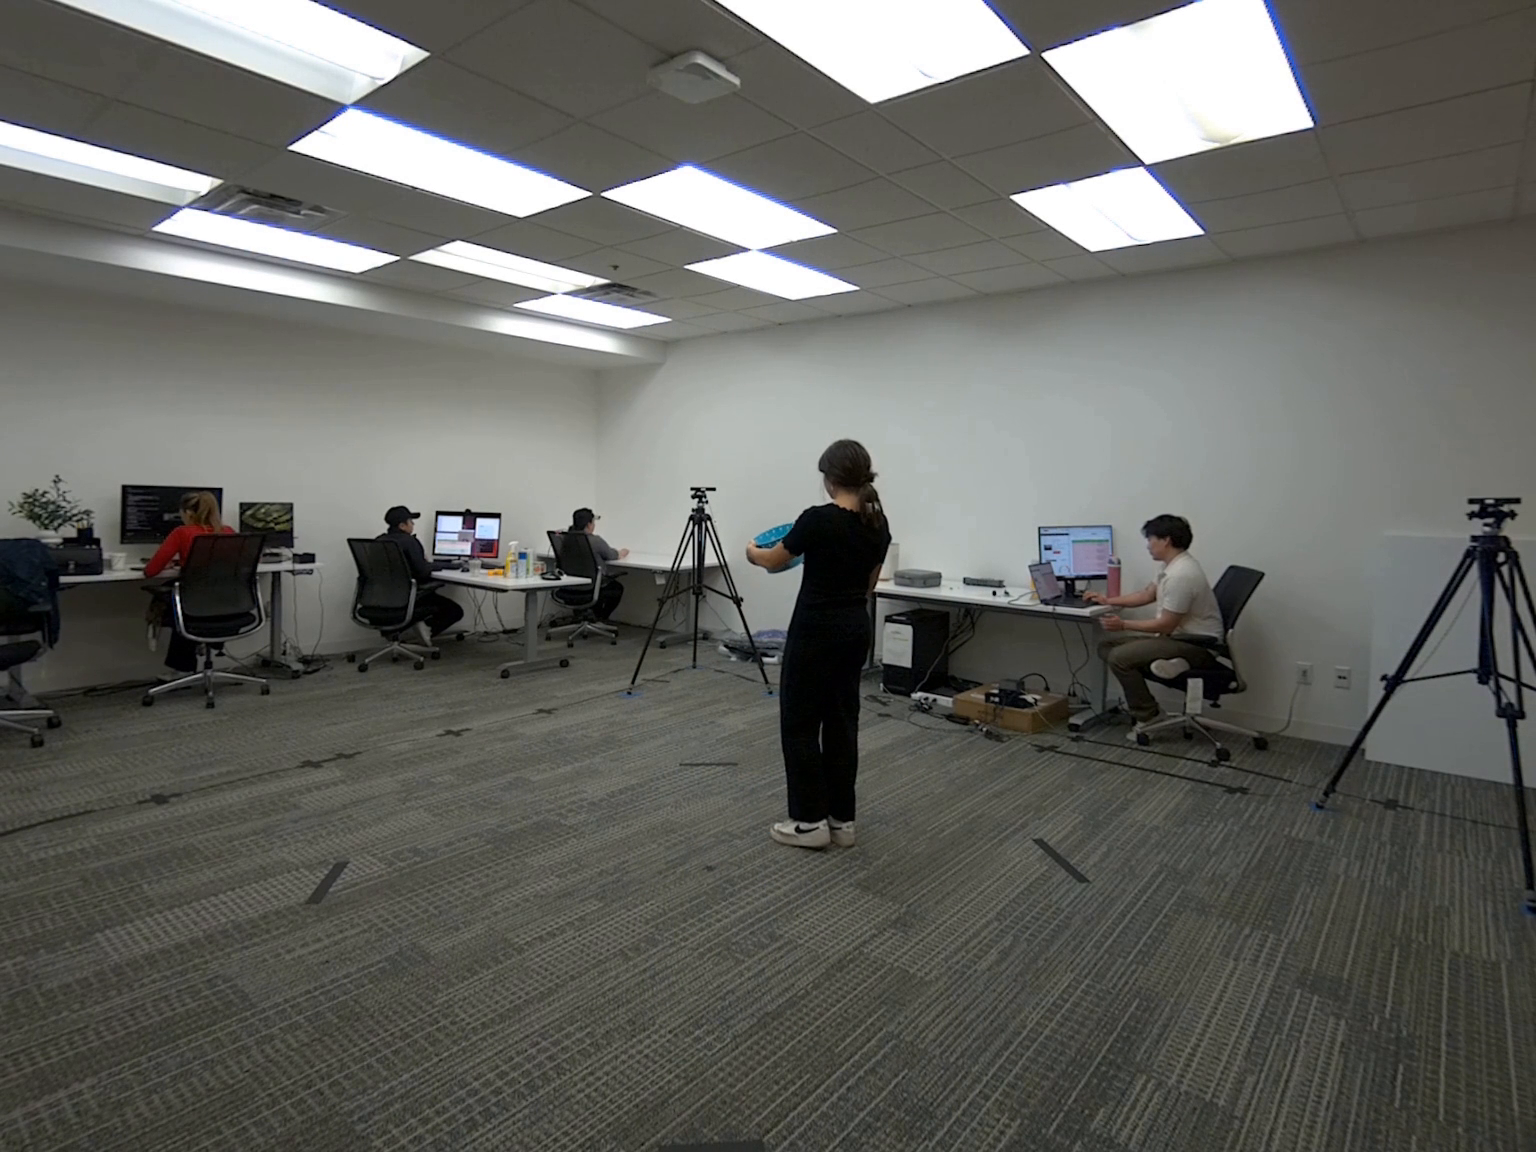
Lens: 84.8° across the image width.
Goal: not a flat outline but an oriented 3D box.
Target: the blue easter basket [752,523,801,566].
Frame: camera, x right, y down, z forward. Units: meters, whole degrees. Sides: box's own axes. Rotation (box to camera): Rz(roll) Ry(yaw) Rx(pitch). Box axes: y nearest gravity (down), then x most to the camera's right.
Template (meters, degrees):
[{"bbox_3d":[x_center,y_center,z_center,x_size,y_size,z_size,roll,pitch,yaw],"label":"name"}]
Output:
[{"bbox_3d":[0.042,-0.114,3.733,0.244,0.153,0.247,-21,13,3],"label":"blue easter basket"}]
